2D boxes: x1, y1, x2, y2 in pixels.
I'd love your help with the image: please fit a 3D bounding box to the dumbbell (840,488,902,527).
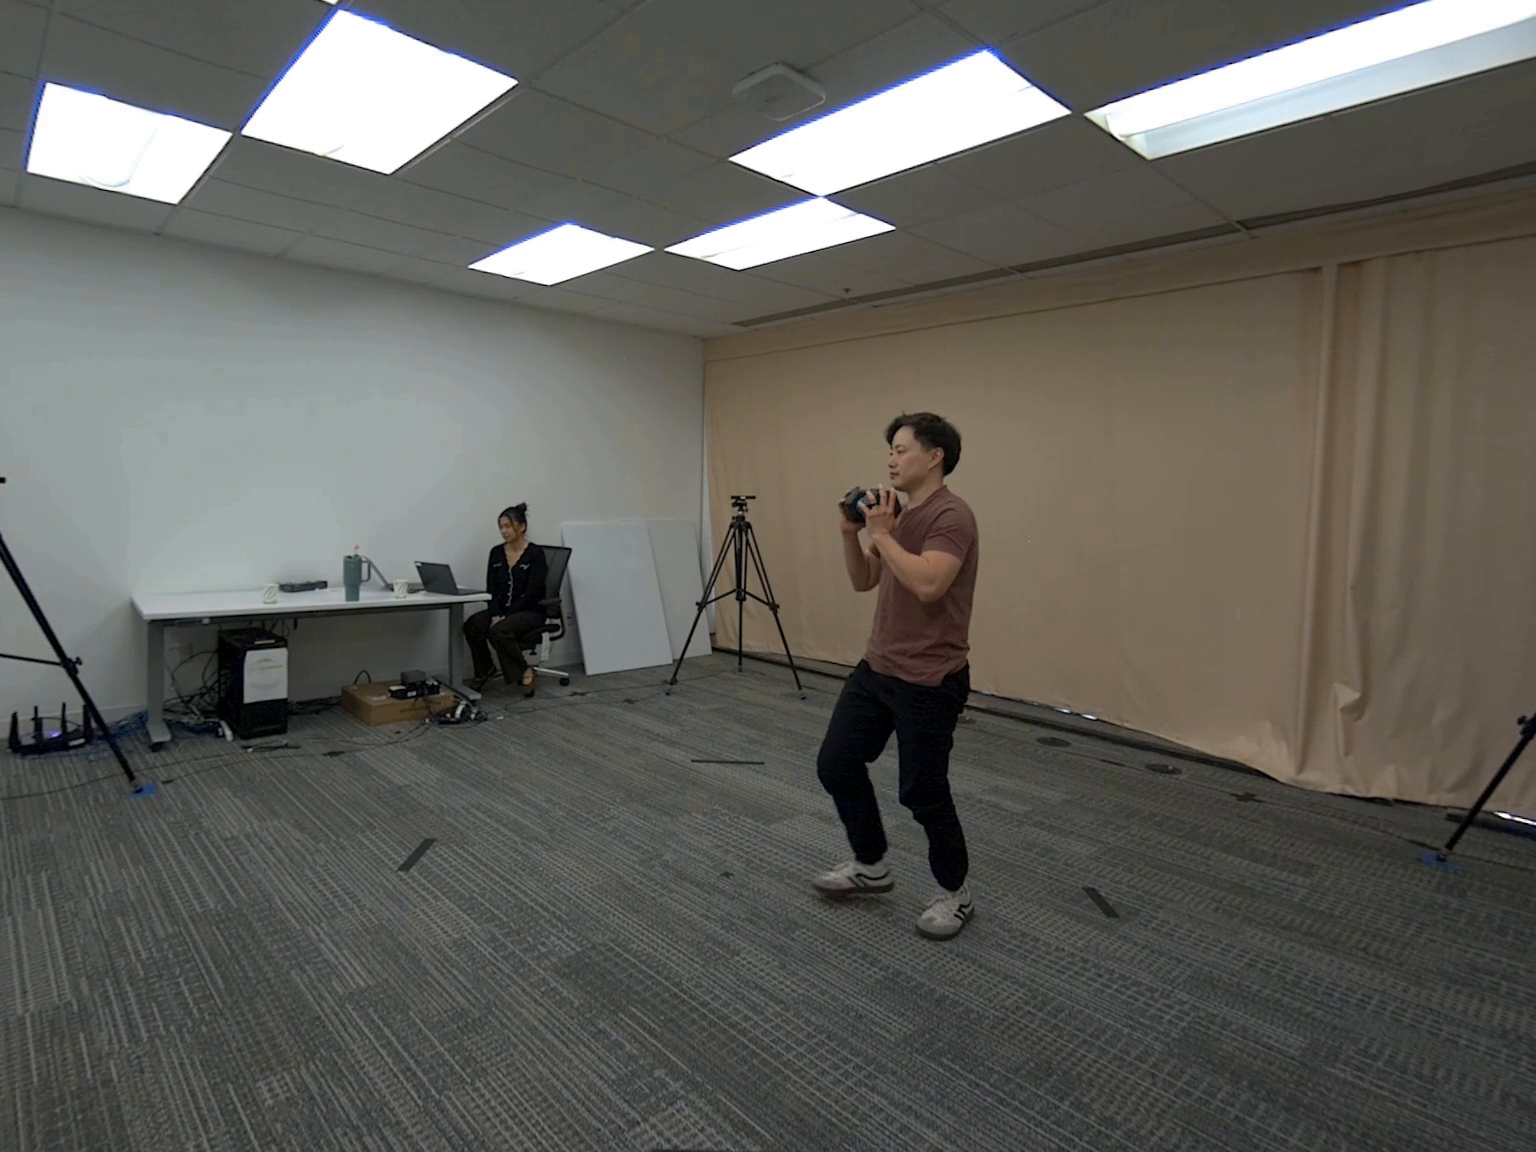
[{"bbox_3d":[0.330,-0.214,2.722,0.122,0.108,0.296,13,4,-8],"label":"dumbbell"}]
